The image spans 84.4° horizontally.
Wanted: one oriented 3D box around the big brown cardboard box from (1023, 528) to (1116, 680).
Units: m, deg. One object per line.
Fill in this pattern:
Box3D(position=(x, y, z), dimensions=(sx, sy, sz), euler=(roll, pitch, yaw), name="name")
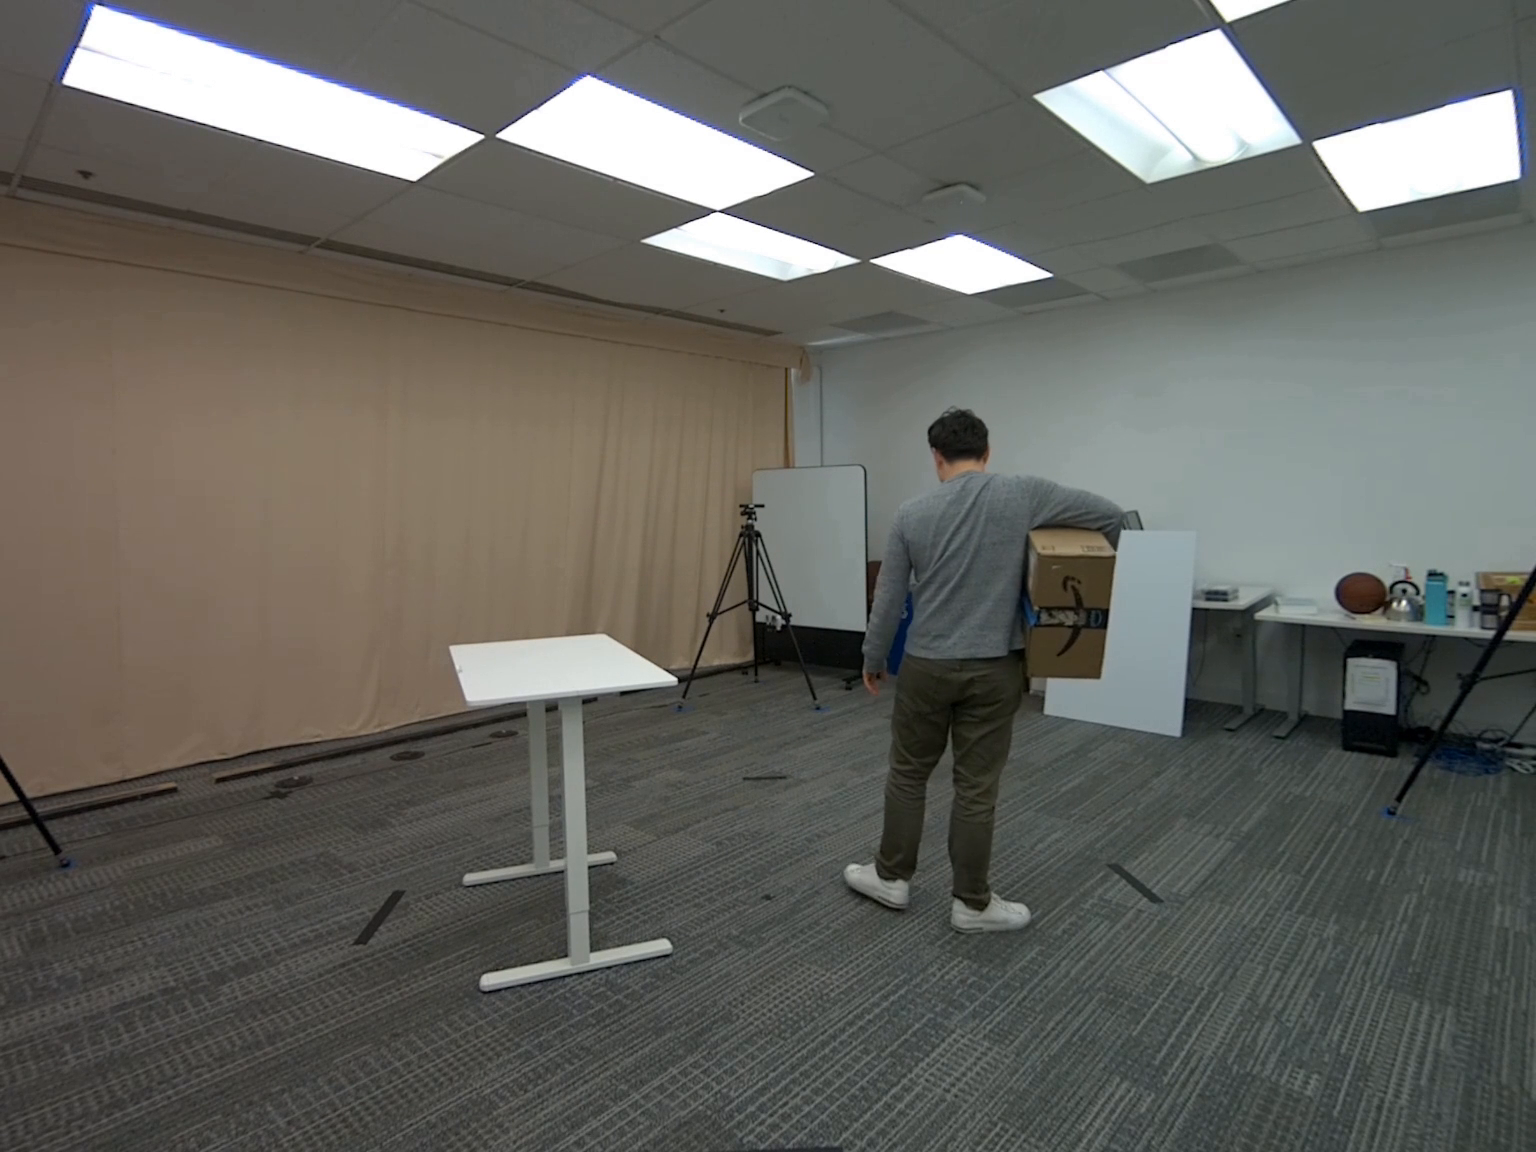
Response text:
Box3D(position=(0.912, 0.018, 2.737), dimensions=(0.235, 0.412, 0.591), euler=(0, 22, 7), name="big brown cardboard box")
